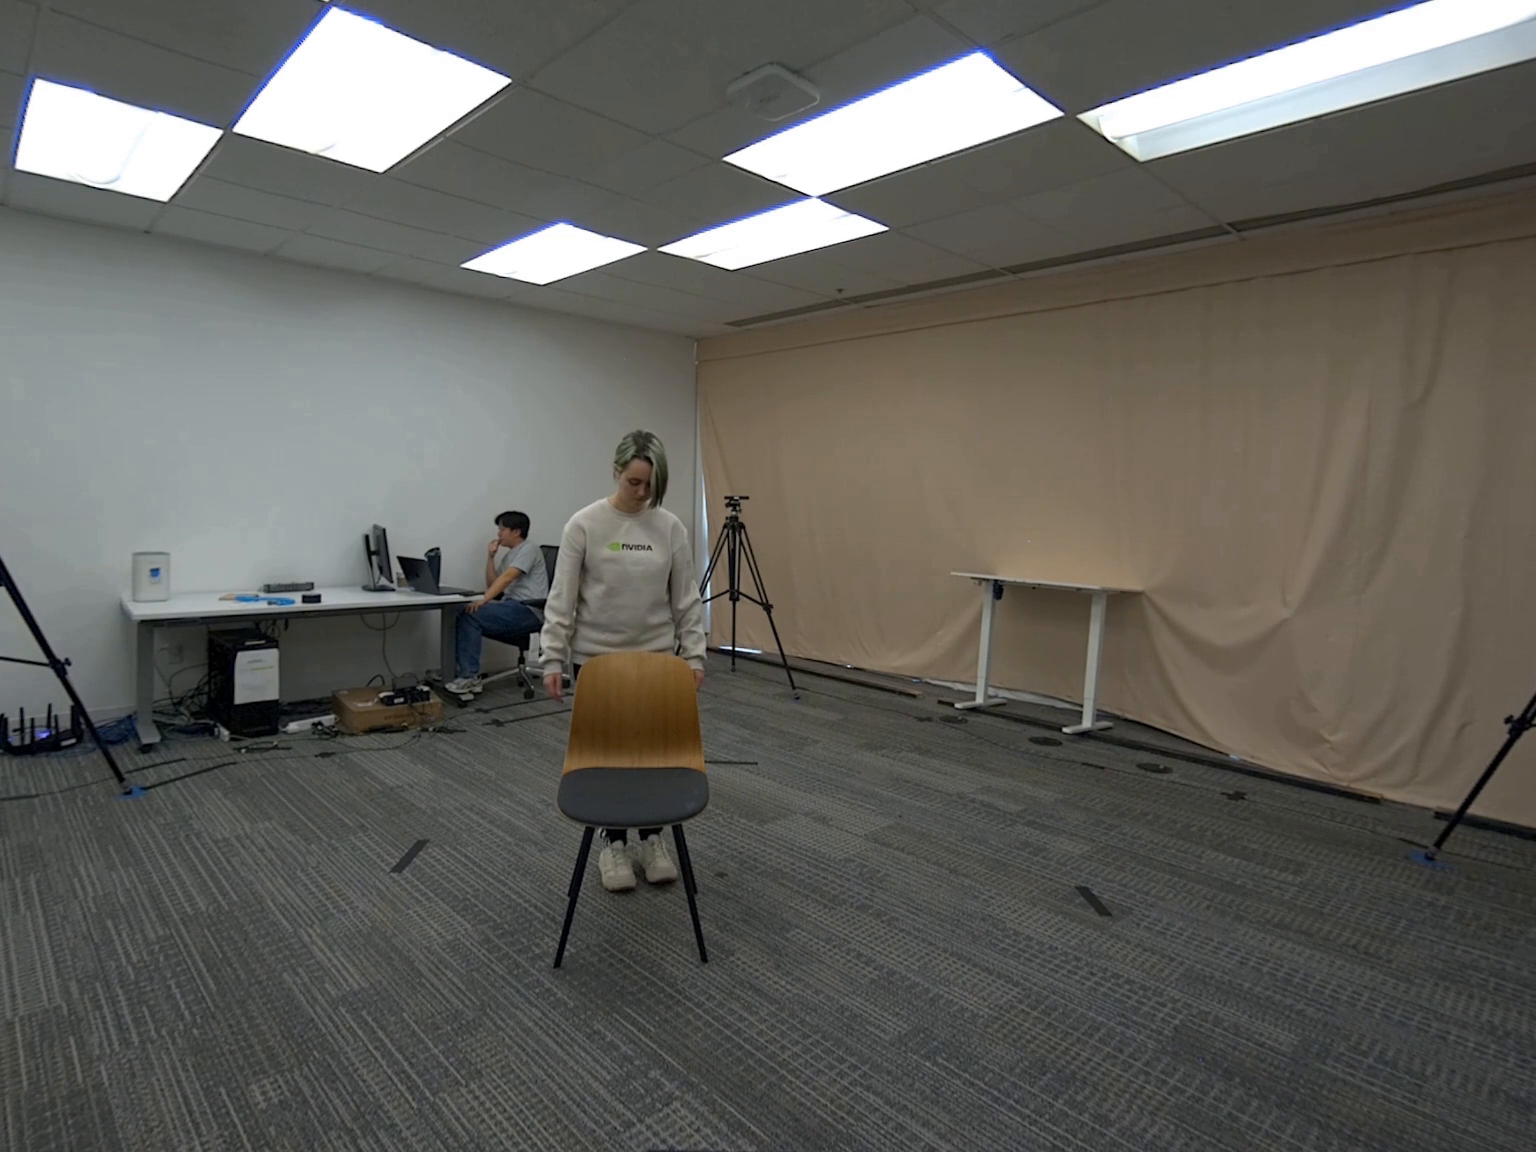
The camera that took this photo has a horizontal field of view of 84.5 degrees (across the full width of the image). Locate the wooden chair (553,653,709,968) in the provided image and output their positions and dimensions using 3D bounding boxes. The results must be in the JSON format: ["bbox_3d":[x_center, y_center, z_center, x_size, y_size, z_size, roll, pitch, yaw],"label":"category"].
[{"bbox_3d":[-0.419,0.710,2.668,0.475,0.878,0.526,2,-1,-9],"label":"wooden chair"}]
